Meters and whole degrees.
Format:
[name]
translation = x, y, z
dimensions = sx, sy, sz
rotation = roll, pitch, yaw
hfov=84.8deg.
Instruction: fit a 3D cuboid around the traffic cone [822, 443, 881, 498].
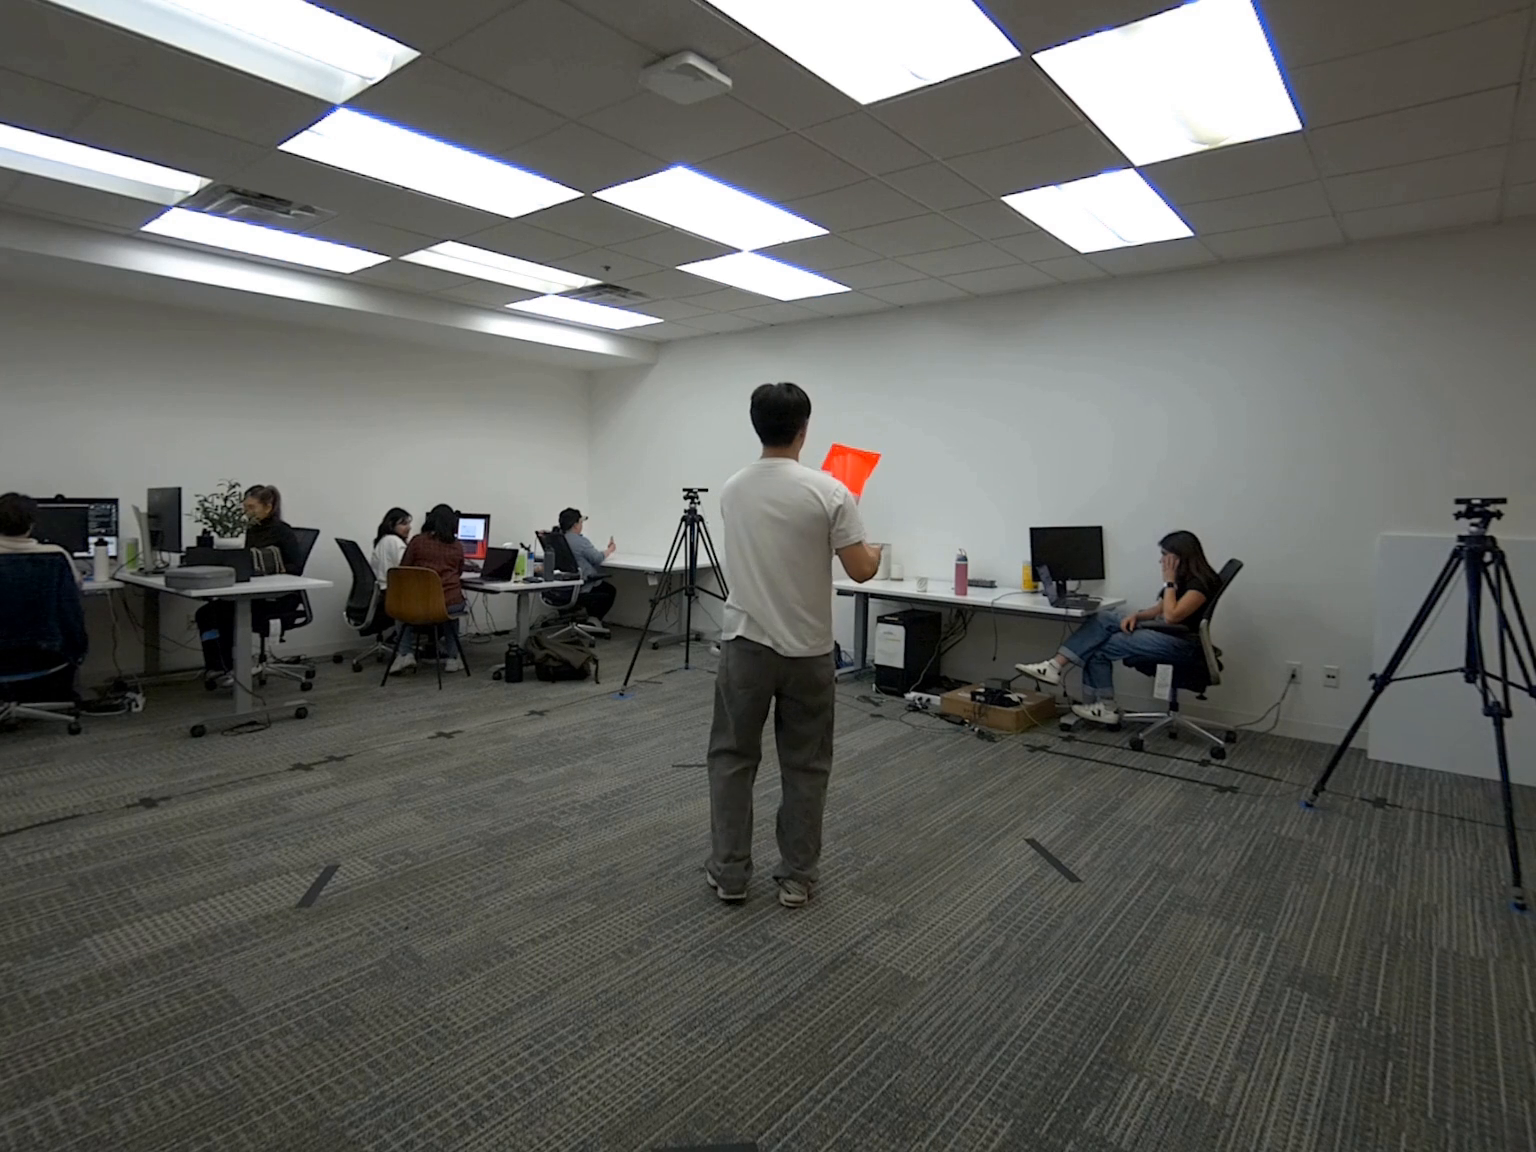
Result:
[traffic cone]
translation = 0.275, -0.293, 3.314
dimensions = 0.204, 0.390, 0.201
rotation = 14, -26, -6
